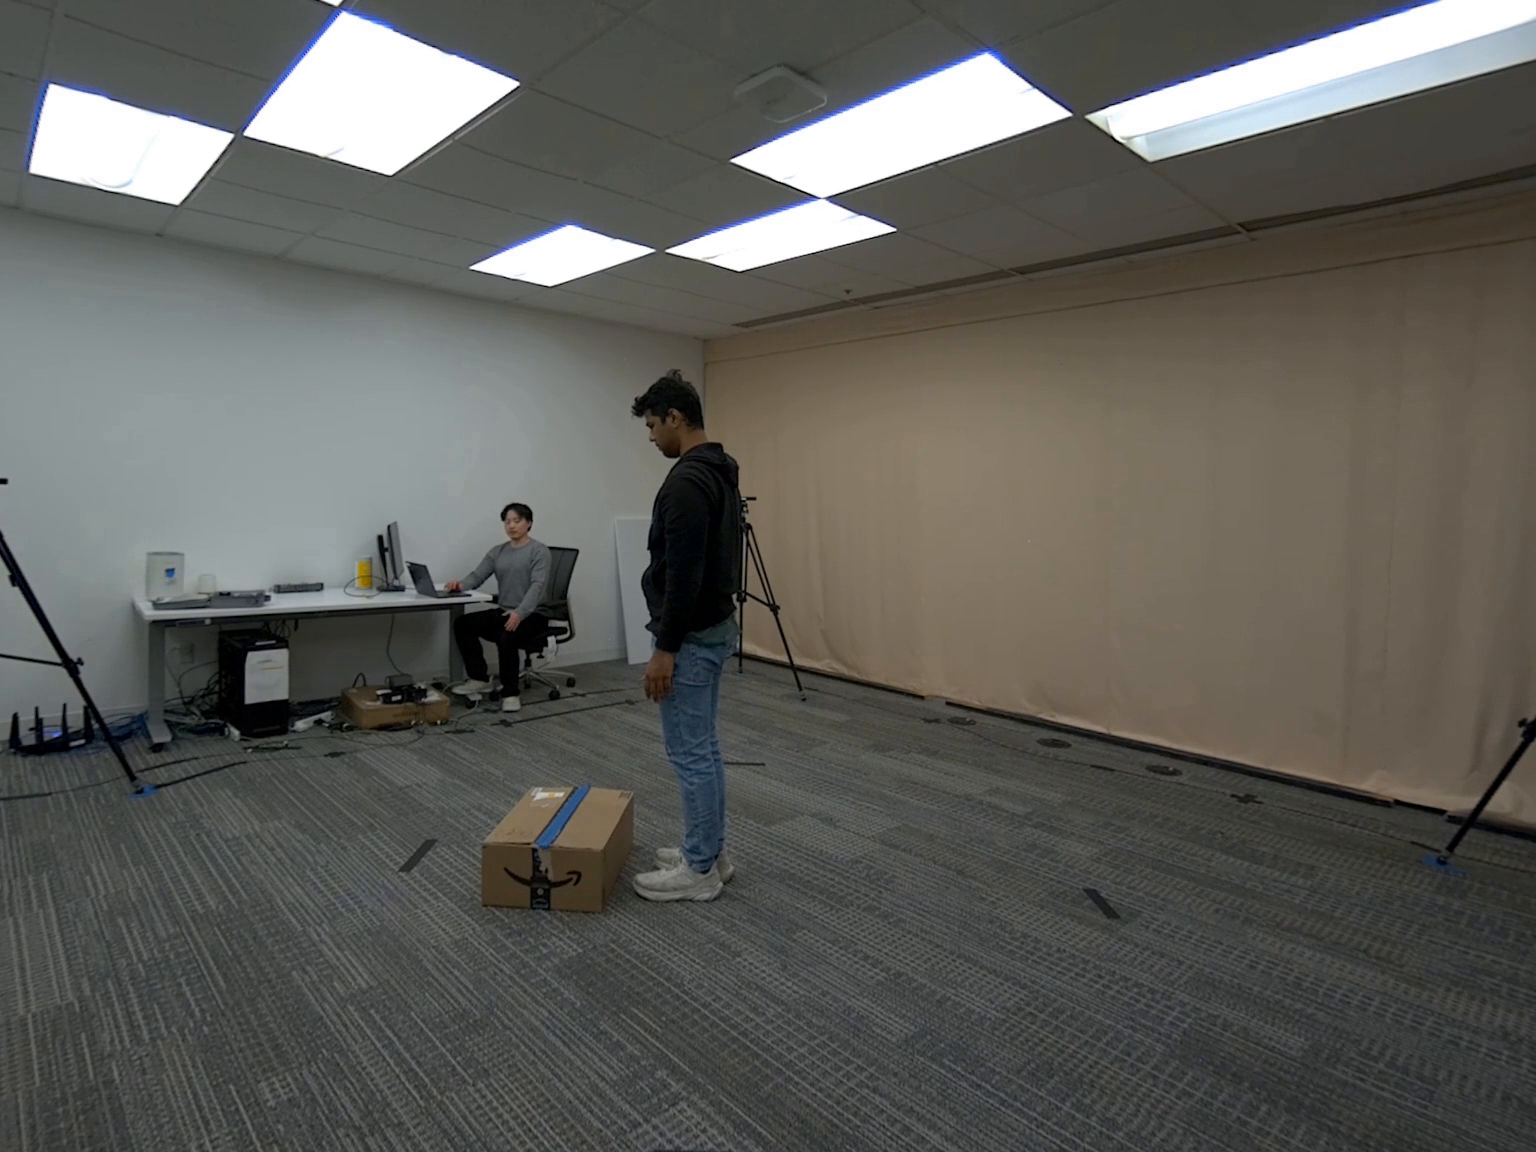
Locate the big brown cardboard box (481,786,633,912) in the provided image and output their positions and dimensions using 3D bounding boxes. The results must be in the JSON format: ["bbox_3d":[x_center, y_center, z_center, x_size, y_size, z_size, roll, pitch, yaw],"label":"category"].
[{"bbox_3d":[-0.755,0.981,3.095,0.419,0.232,0.590,1,6,2],"label":"big brown cardboard box"}]
